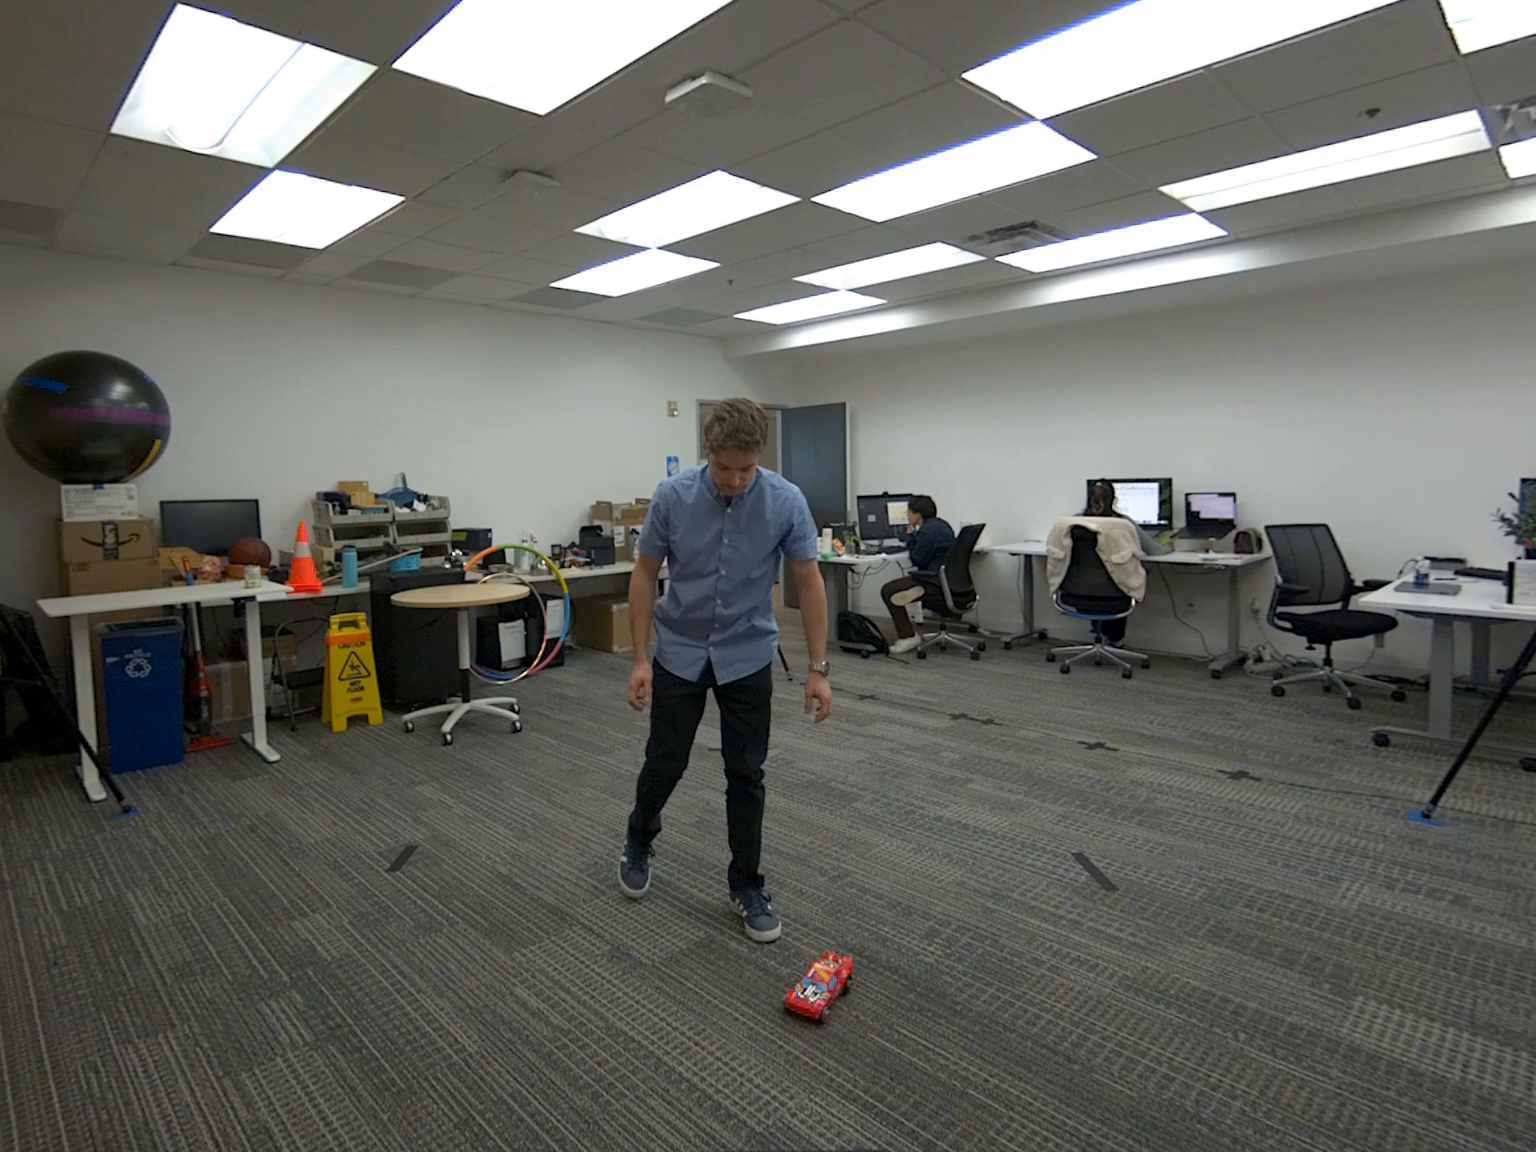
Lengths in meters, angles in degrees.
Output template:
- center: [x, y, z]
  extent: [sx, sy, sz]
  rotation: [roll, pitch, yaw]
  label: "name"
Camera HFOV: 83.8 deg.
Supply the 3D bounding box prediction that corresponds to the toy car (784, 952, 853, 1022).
- center: [0.154, 1.103, 2.301]
  extent: [0.134, 0.082, 0.252]
  rotation: [2, 19, 29]
  label: "toy car"
